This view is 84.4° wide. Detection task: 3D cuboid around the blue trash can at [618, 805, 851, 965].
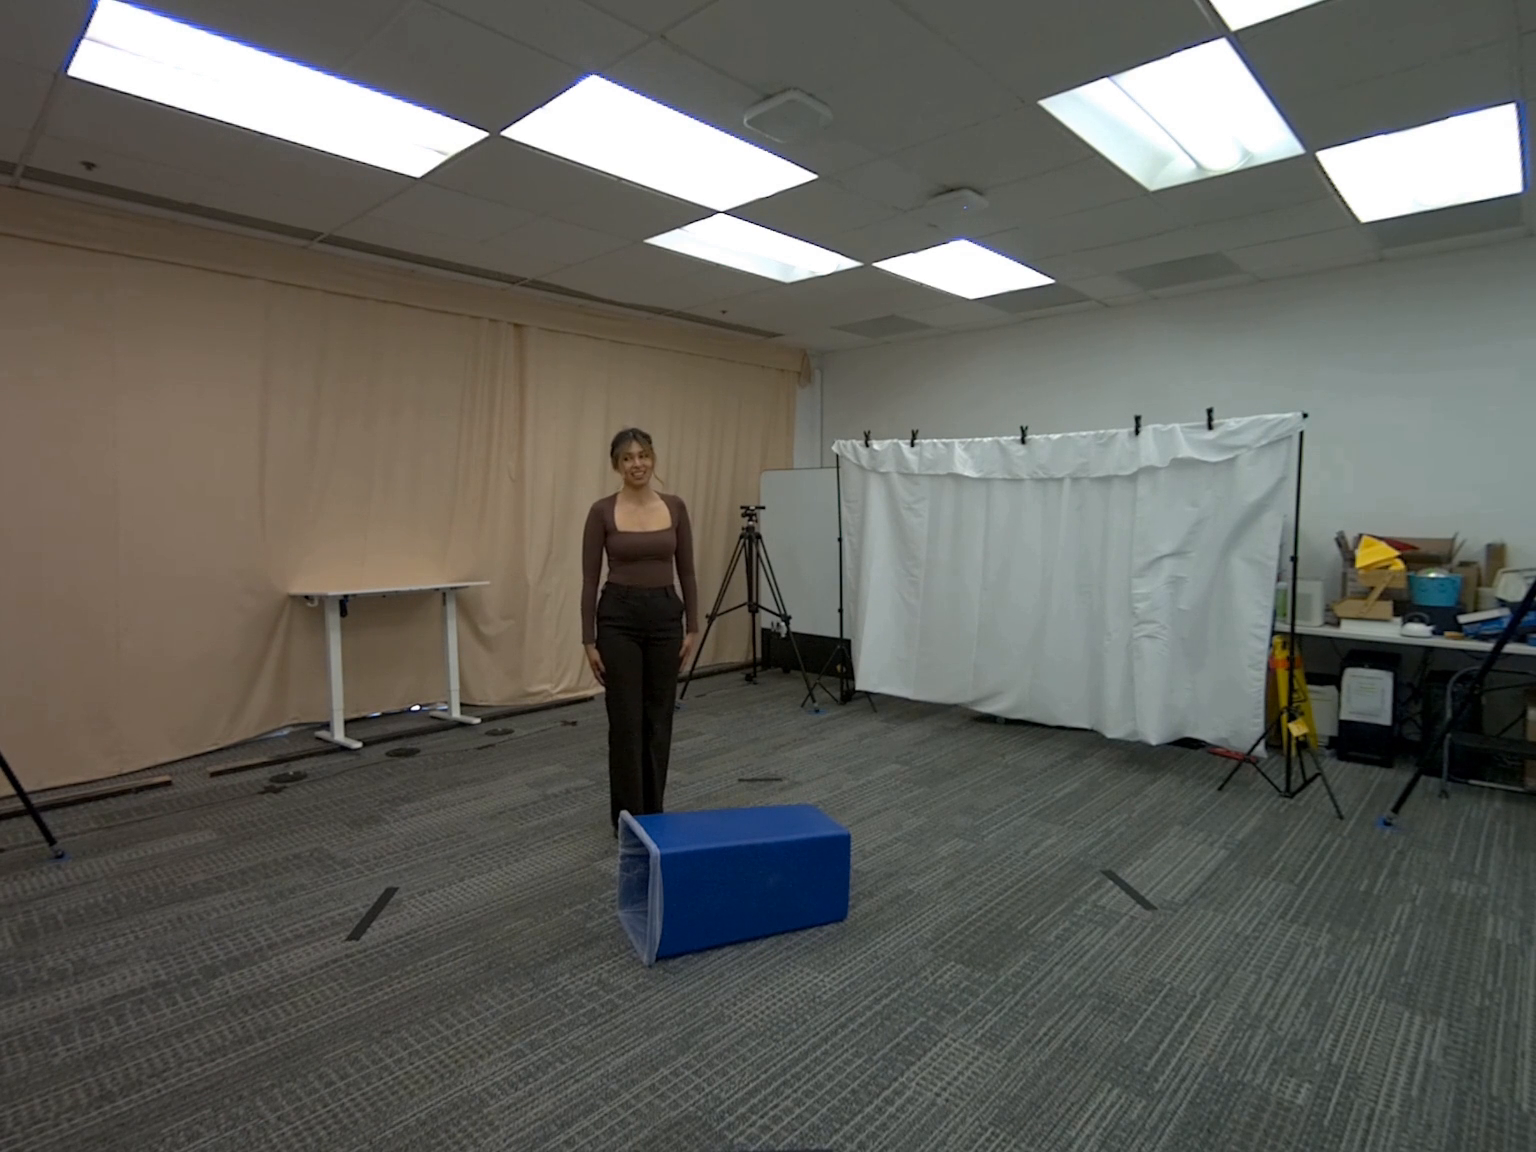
[{"bbox_3d":[-0.106,0.985,2.815,0.698,0.377,0.383,0,2,-22],"label":"blue trash can"}]
